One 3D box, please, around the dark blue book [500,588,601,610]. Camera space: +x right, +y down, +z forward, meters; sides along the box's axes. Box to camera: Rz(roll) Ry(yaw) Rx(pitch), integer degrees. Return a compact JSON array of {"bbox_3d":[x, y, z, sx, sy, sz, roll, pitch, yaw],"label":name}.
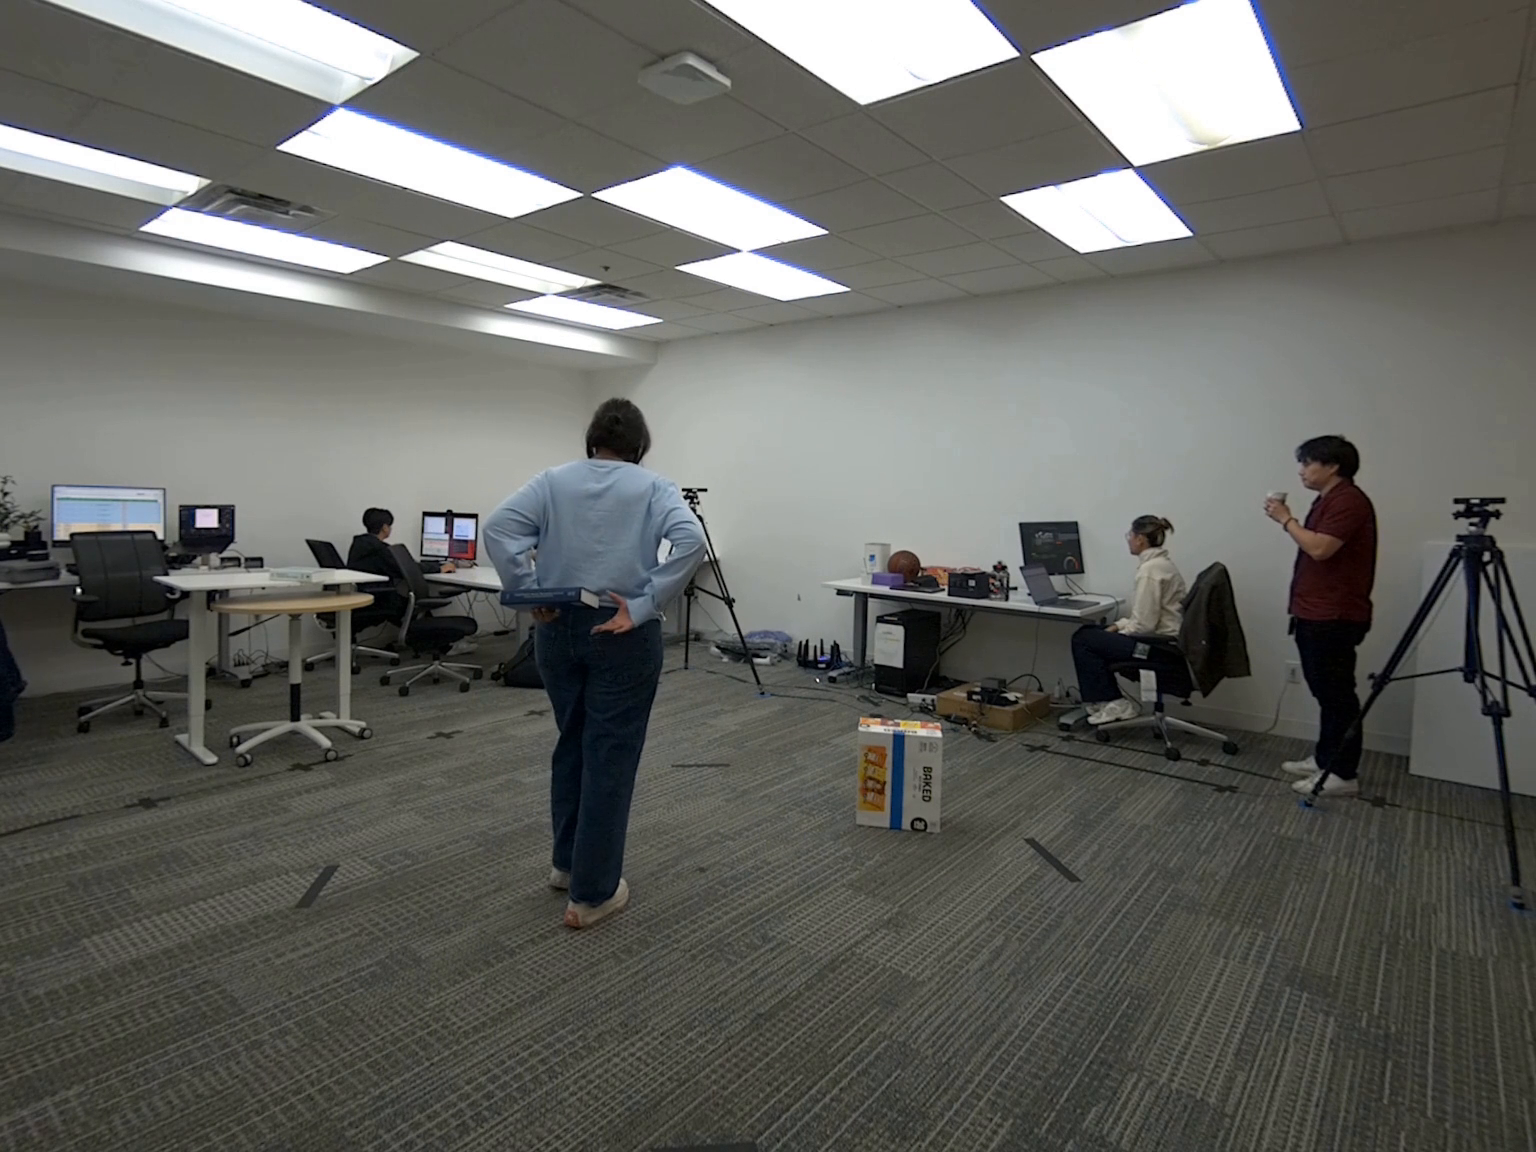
[{"bbox_3d":[-0.646,0.064,2.486,0.248,0.046,0.160,-3,-11,10],"label":"dark blue book"}]
